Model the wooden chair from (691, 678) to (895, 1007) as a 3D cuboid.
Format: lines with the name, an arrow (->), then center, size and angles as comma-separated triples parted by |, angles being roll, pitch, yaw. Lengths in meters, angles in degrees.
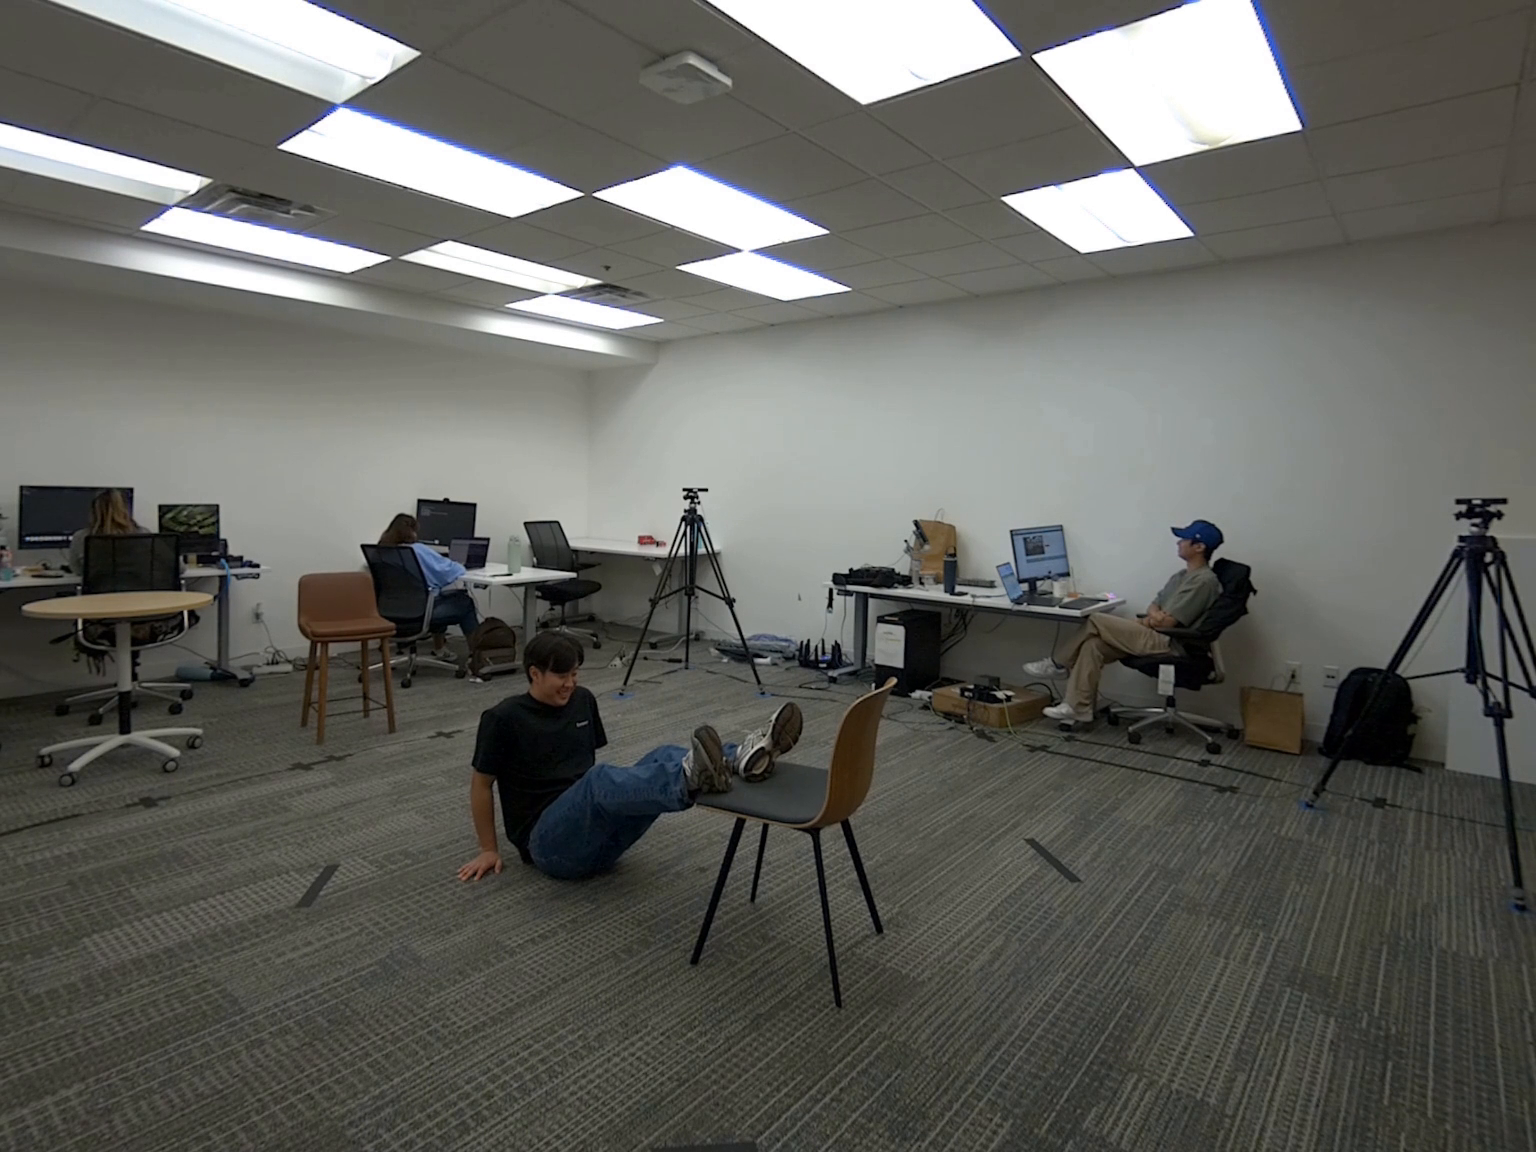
wooden chair -> 0.069, 0.700, 2.563 | 0.537, 0.874, 0.467 | 7, 5, 24
